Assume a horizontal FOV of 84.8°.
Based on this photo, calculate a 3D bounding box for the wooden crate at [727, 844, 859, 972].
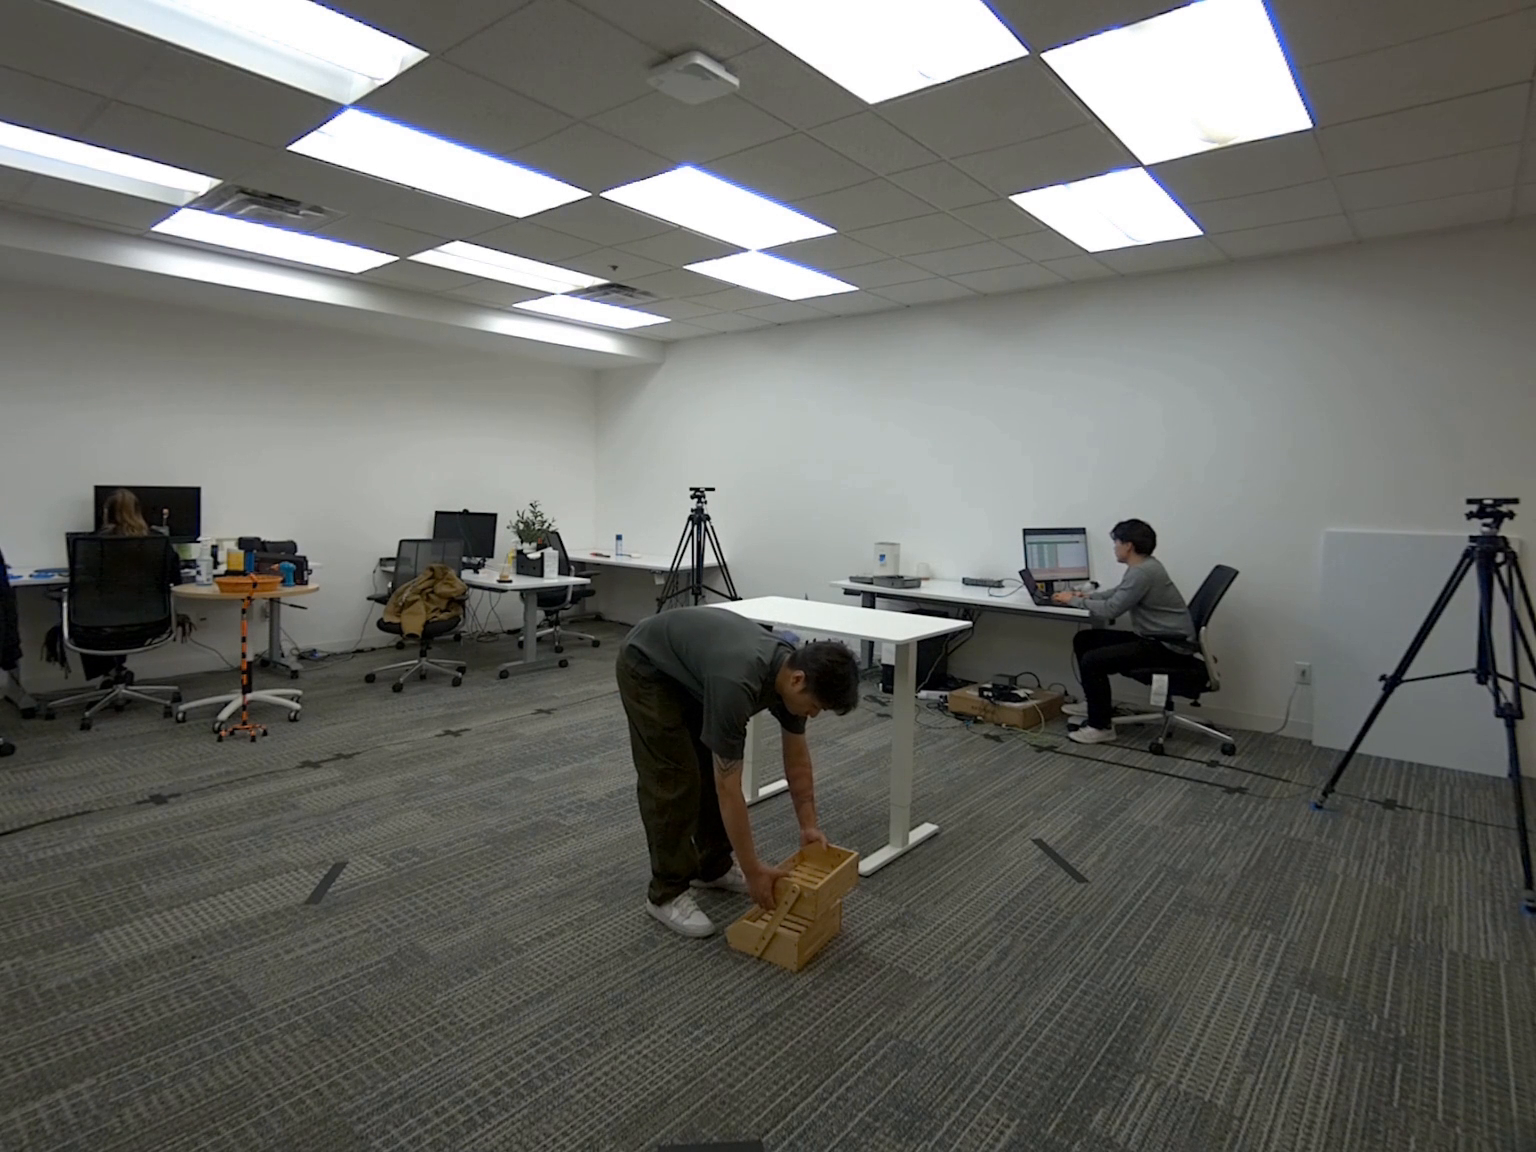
[{"bbox_3d":[0.073,0.987,2.622,0.311,0.272,0.316,6,6,32],"label":"wooden crate"}]
